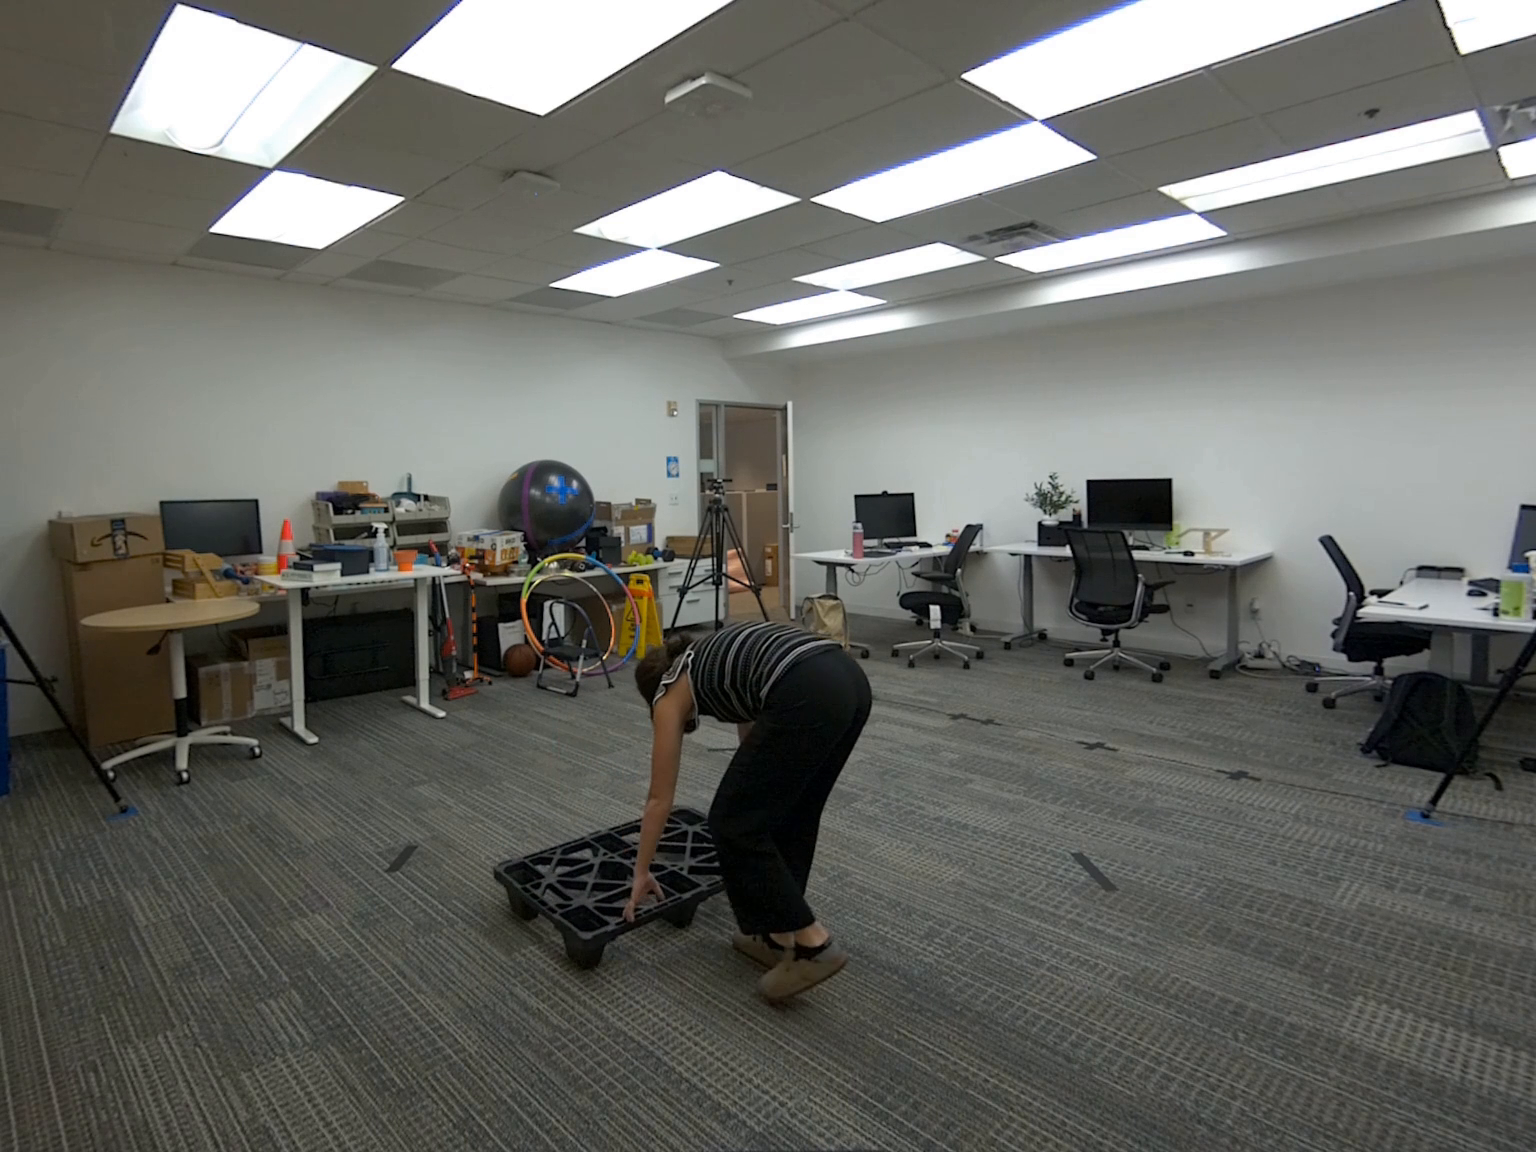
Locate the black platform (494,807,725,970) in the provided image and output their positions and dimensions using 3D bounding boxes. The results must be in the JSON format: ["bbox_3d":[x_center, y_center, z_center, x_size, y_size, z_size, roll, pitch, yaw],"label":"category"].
[{"bbox_3d":[-0.422,1.014,2.854,0.785,0.143,0.624,-7,8,-41],"label":"black platform"}]
